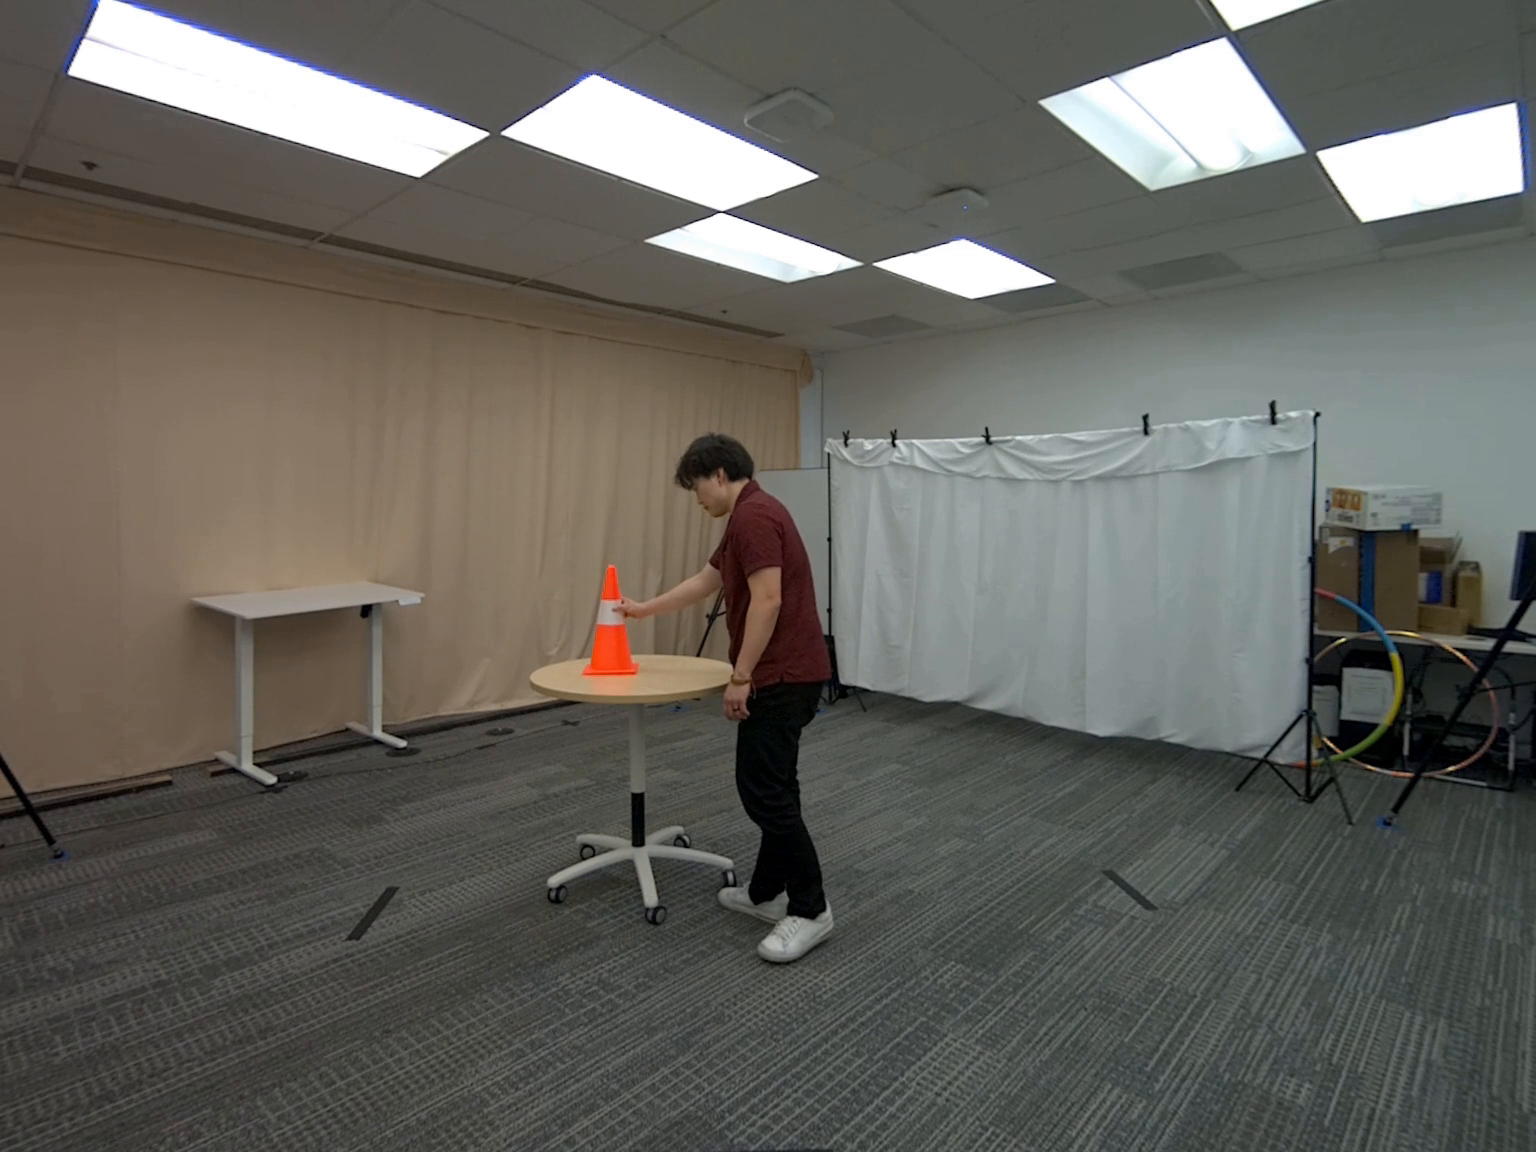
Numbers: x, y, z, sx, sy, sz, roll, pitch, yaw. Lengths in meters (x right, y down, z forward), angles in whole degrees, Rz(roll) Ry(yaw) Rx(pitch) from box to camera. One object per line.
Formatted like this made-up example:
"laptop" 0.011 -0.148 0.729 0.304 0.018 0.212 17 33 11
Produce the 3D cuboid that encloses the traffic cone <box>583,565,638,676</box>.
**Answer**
"traffic cone" -0.578 0.146 3.127 0.204 0.383 0.204 2 3 -4
